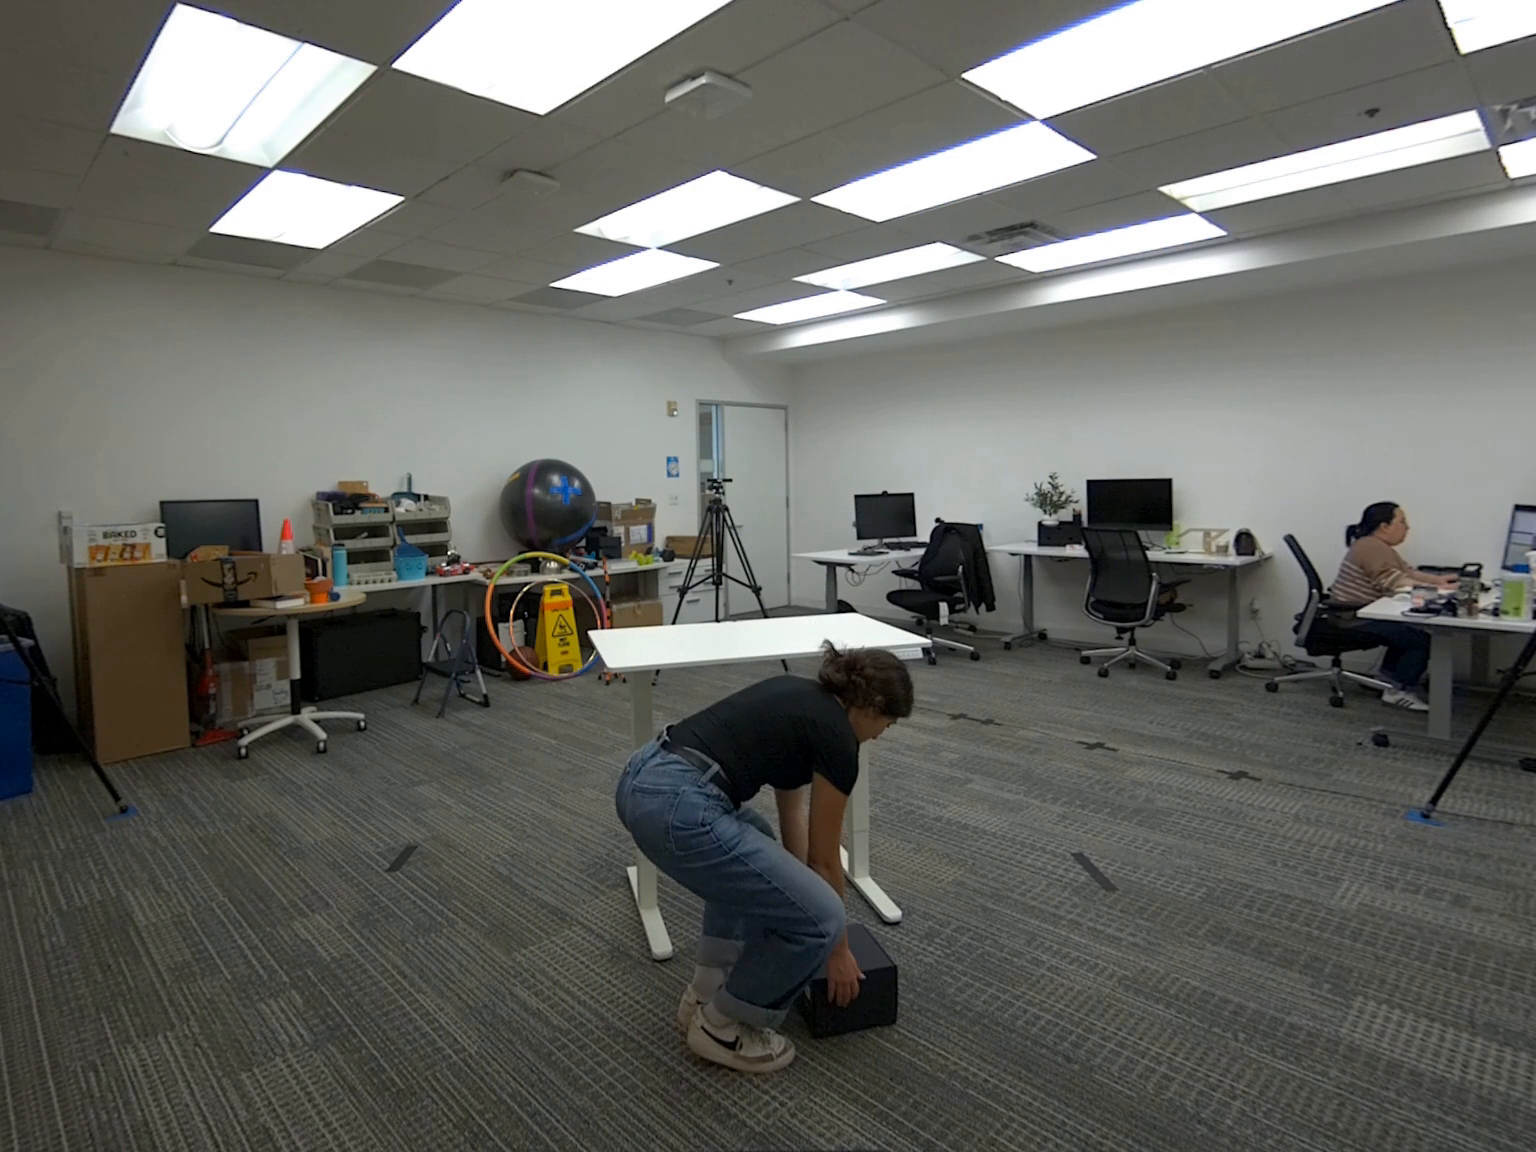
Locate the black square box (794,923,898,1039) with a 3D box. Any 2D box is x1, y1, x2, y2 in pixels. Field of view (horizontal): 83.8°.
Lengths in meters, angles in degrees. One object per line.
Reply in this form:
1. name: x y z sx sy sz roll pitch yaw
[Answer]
1. black square box: 0.196 1.057 2.251 0.224 0.155 0.221 -3 6 -16
